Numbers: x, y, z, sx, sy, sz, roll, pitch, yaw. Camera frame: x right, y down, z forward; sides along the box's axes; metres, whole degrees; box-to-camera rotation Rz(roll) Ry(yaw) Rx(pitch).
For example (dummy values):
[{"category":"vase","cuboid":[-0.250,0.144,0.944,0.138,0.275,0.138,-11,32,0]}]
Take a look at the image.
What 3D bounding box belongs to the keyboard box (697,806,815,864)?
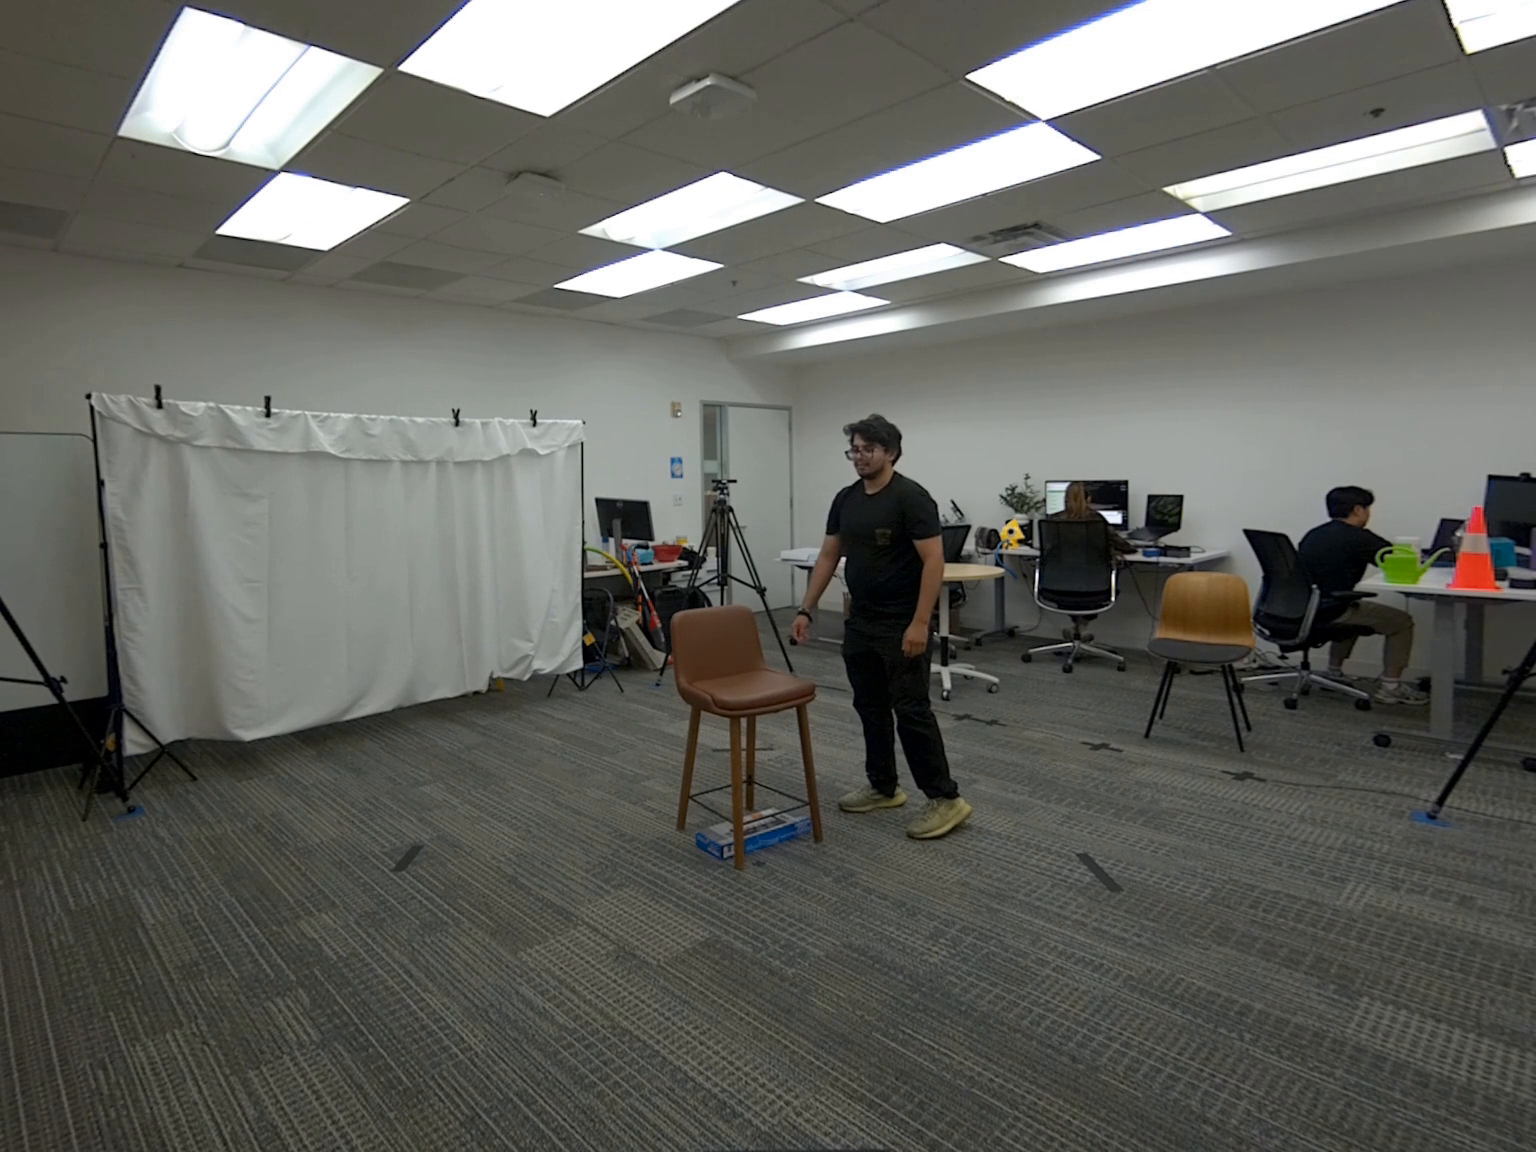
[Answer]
[{"category":"keyboard box","cuboid":[-0.045,0.997,3.326,0.426,0.059,0.181,-5,6,-36]}]
